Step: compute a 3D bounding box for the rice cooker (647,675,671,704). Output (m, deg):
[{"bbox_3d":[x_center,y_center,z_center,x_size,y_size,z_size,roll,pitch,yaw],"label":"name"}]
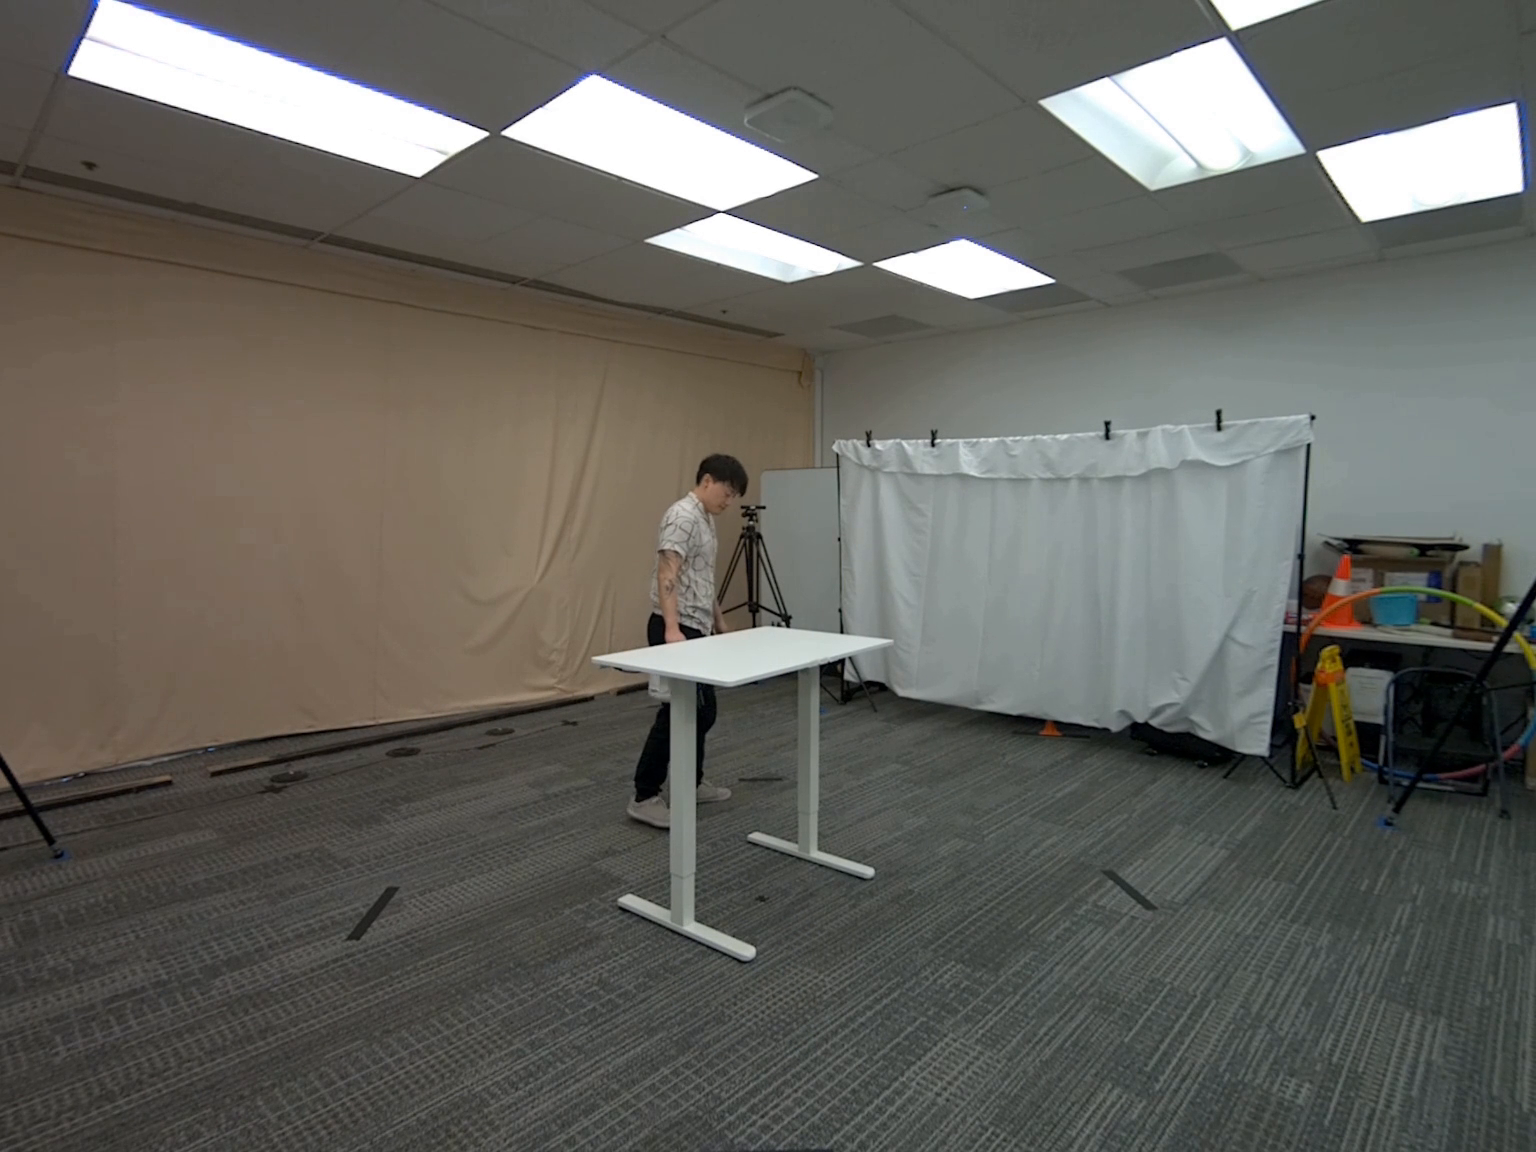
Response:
[{"bbox_3d":[-0.397,0.396,3.502,0.219,0.233,0.219,3,0,-8],"label":"rice cooker"}]
